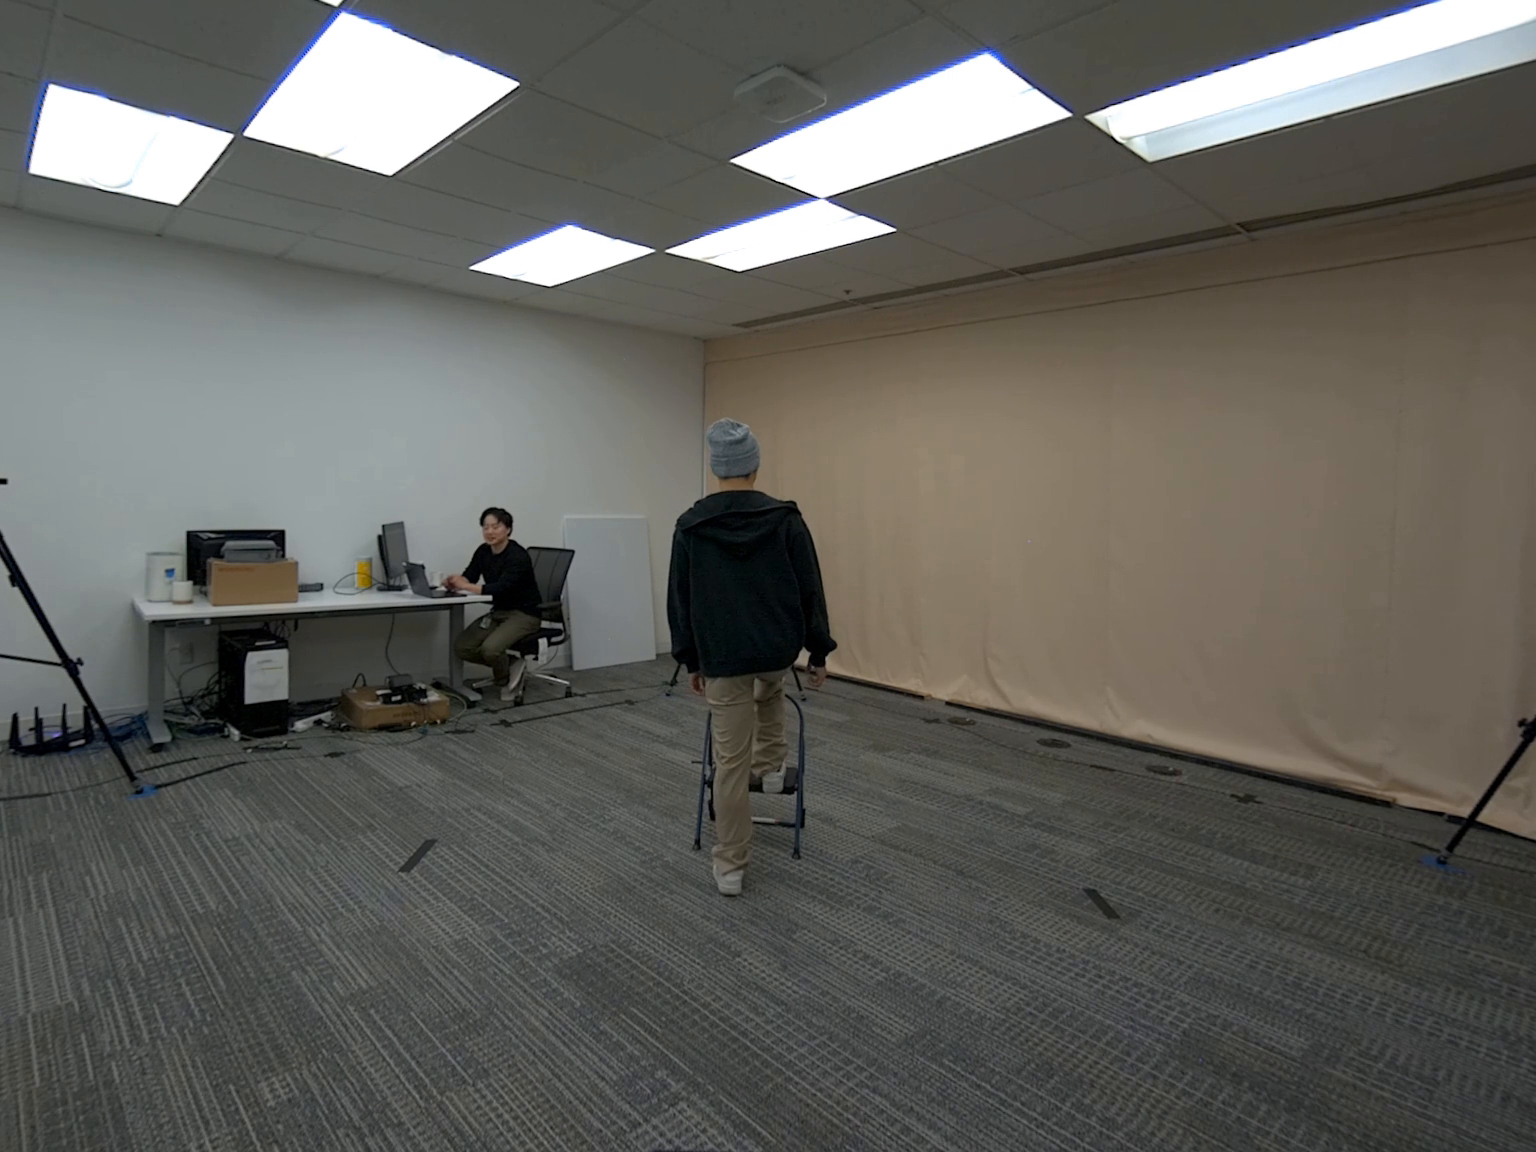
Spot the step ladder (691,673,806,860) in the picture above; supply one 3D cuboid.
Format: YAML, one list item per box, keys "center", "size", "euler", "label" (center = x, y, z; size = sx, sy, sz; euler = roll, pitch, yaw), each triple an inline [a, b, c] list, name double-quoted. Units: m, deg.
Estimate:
- center: [-0.067, 0.780, 3.454]
  size: [0.433, 0.605, 0.348]
  euler: [2, 3, 7]
  label: "step ladder"
